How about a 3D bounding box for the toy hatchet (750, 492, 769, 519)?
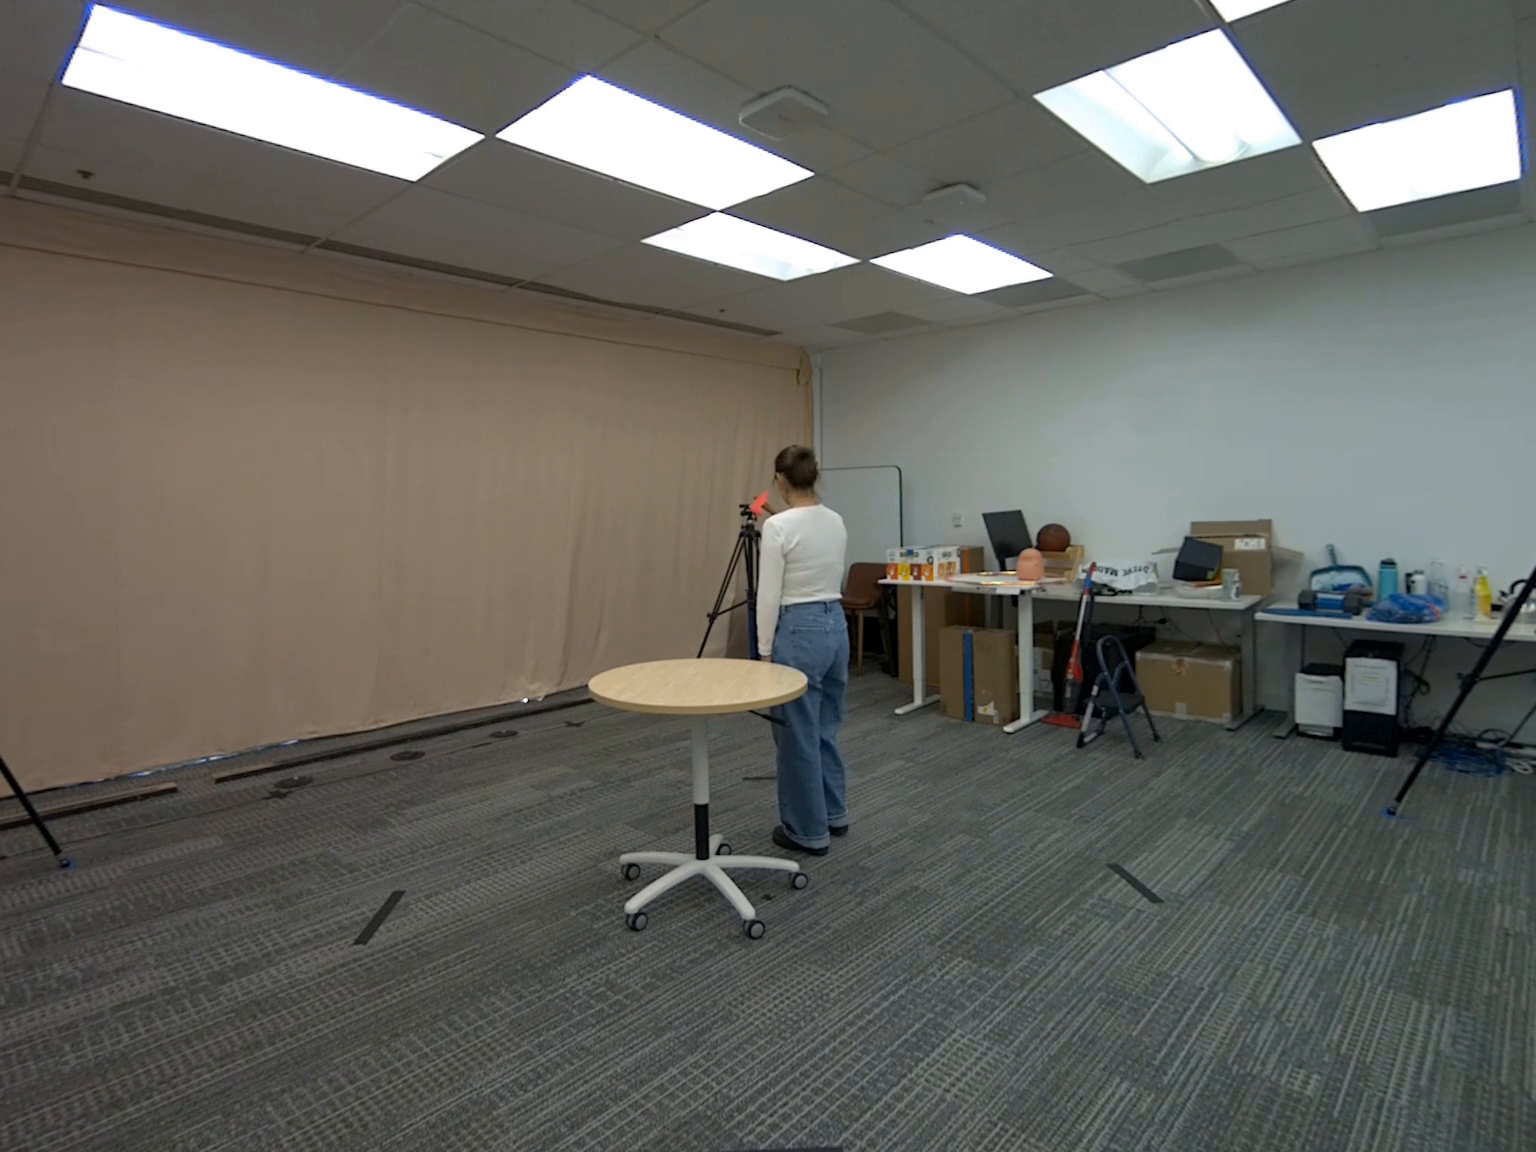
[{"bbox_3d":[0.028,-0.246,3.704,0.128,0.275,0.029,-22,-18,-27],"label":"toy hatchet"}]
